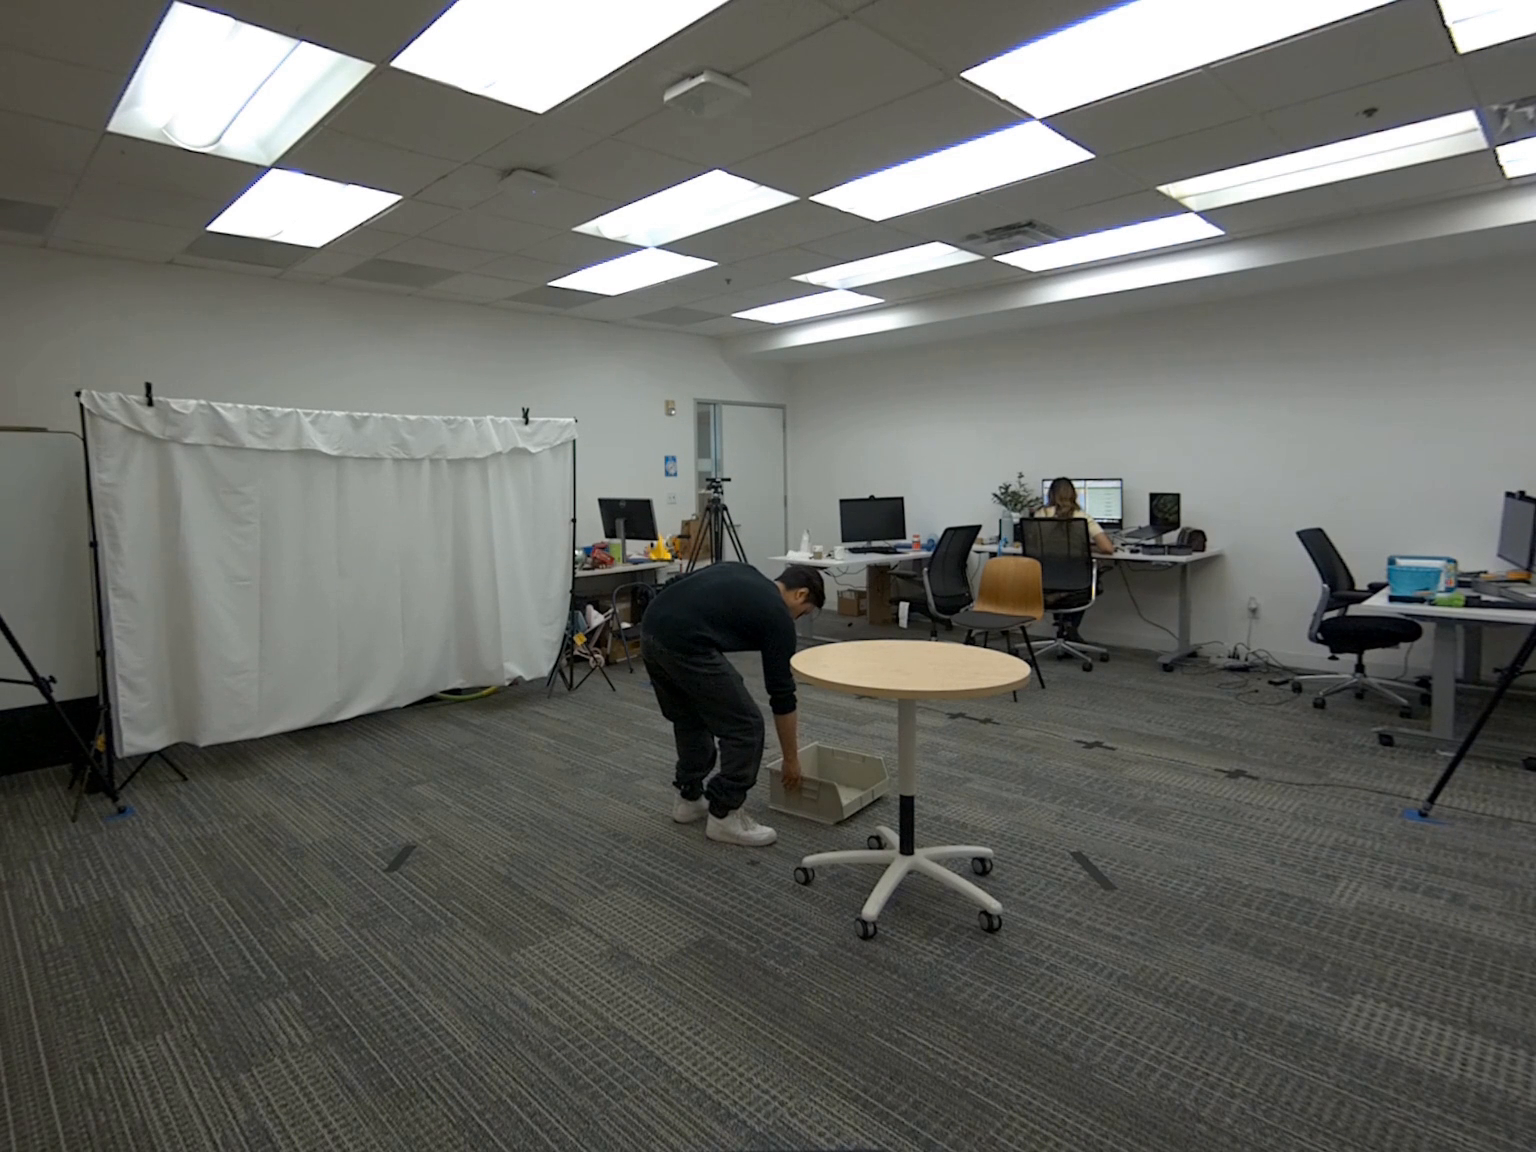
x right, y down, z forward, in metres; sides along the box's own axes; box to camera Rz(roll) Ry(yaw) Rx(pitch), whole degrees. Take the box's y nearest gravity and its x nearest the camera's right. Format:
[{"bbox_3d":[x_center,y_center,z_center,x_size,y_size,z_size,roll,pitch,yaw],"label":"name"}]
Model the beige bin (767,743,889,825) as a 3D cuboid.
[{"bbox_3d":[0.262,0.885,3.671,0.388,0.188,0.412,3,8,36],"label":"beige bin"}]
